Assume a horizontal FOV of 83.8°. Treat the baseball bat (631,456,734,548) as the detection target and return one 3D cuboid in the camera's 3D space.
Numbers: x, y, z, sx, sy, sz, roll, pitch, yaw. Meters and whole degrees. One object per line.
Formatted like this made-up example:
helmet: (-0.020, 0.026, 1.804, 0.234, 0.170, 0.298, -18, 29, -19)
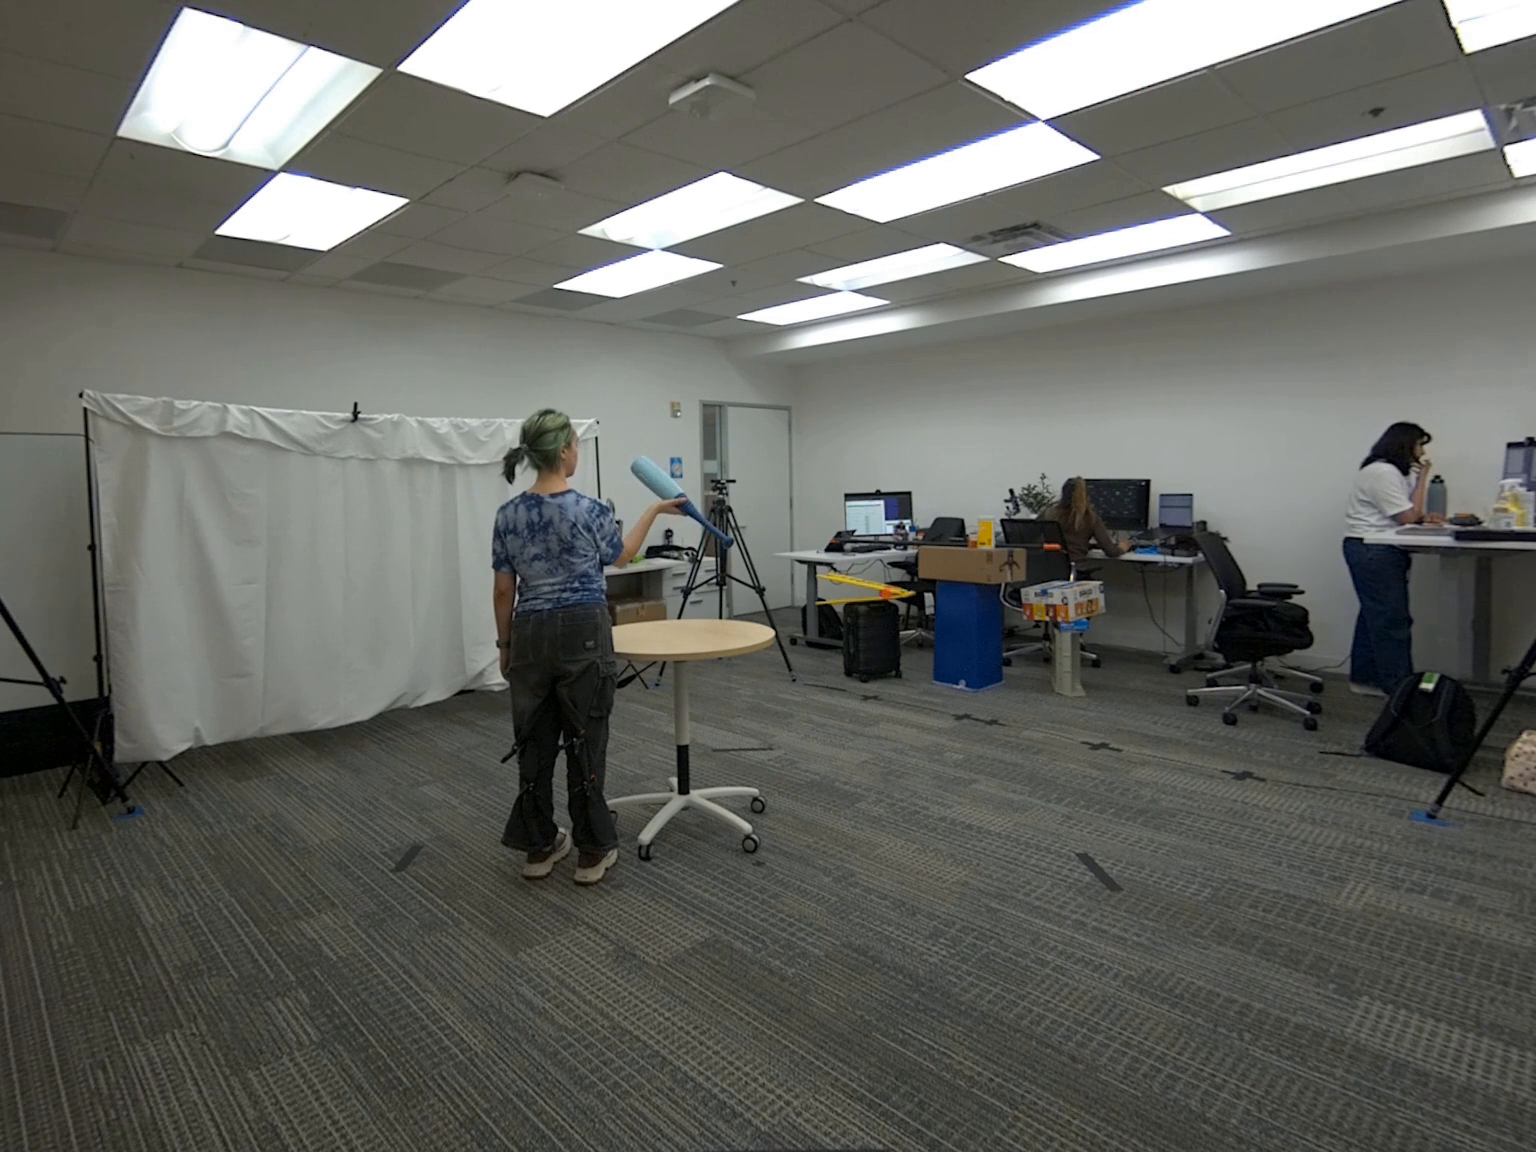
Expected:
baseball bat: (-0.329, -0.278, 3.253, 0.560, 0.088, 0.087, 41, 25, 26)
